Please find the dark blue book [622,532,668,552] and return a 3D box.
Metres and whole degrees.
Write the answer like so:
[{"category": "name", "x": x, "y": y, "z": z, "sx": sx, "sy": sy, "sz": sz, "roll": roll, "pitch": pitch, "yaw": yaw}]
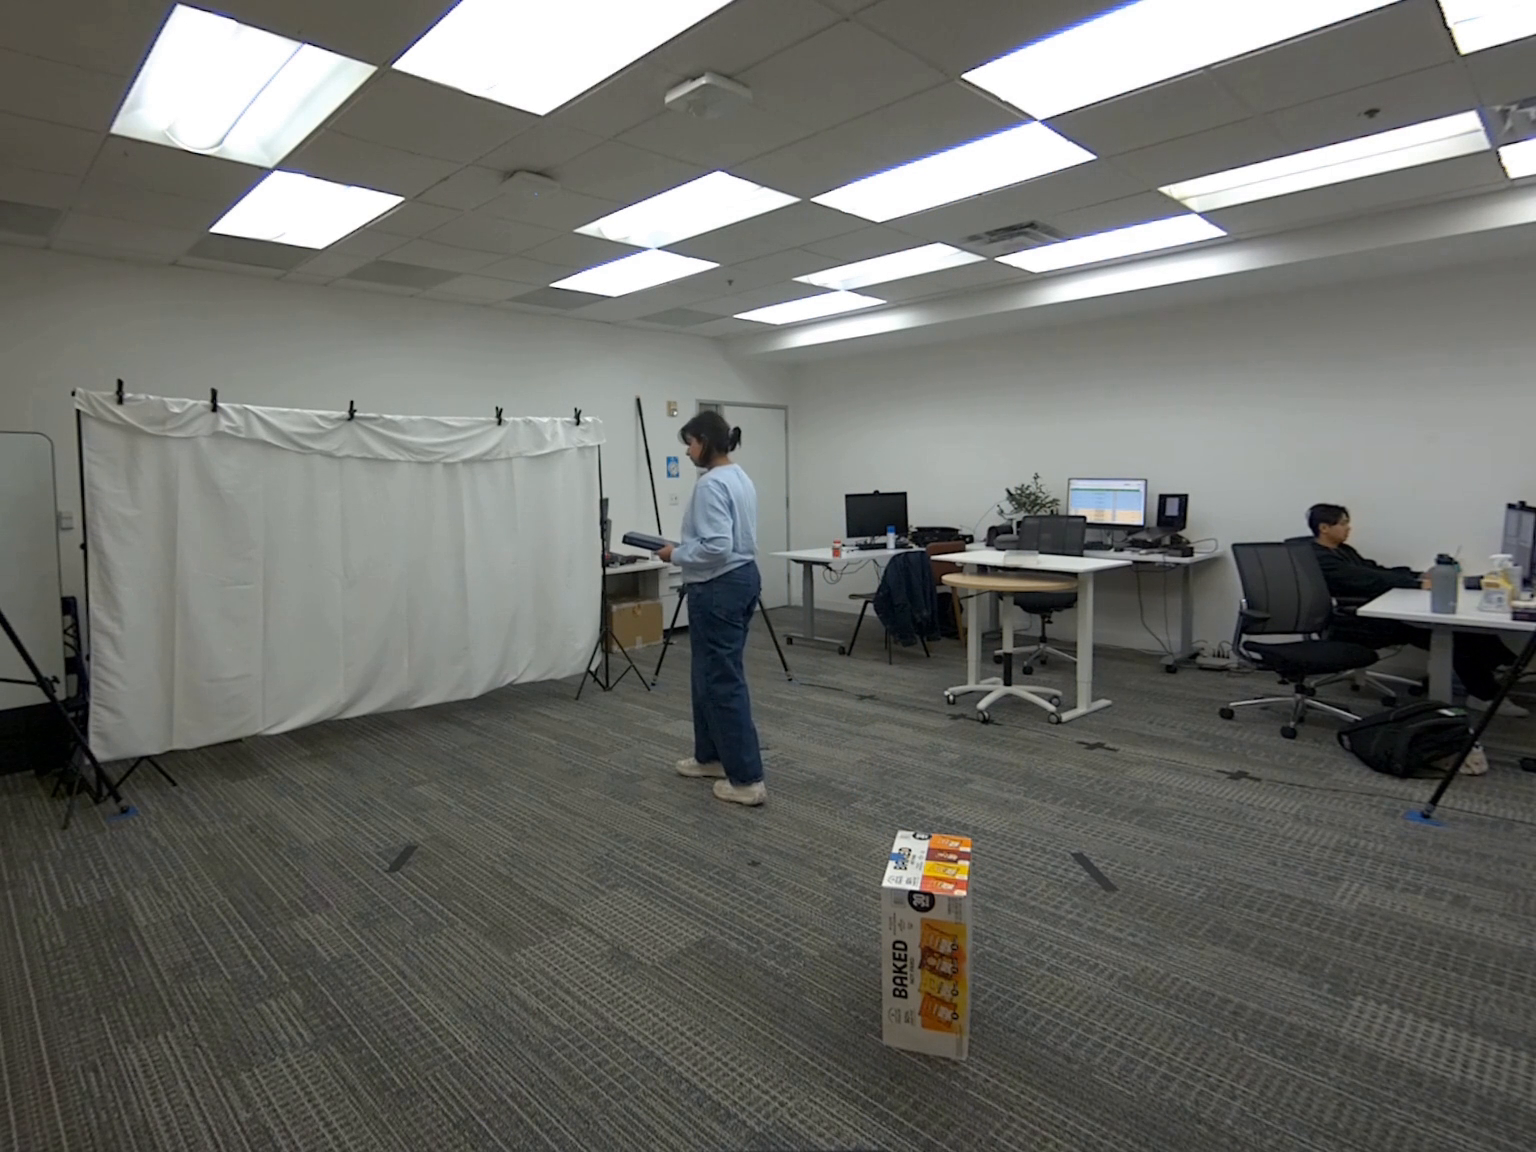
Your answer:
[{"category": "dark blue book", "x": -0.527, "y": -0.150, "z": 3.887, "sx": 0.247, "sy": 0.045, "sz": 0.163, "roll": 12, "pitch": 8, "yaw": 6}]
